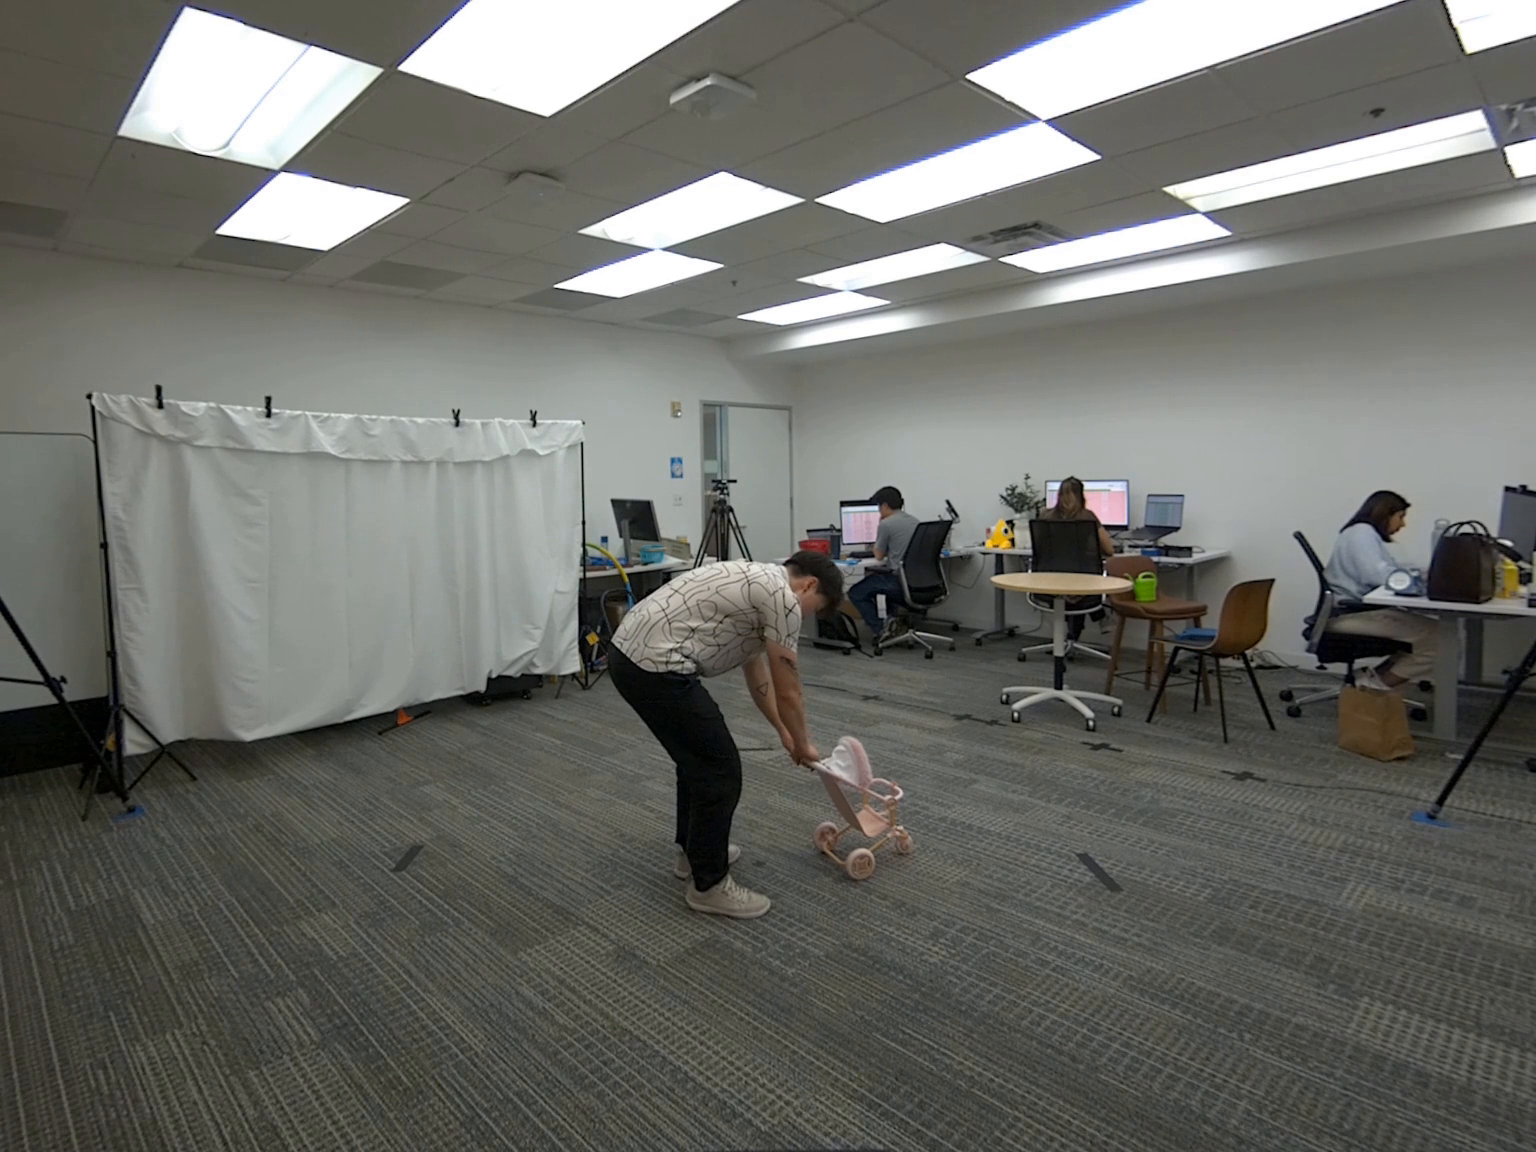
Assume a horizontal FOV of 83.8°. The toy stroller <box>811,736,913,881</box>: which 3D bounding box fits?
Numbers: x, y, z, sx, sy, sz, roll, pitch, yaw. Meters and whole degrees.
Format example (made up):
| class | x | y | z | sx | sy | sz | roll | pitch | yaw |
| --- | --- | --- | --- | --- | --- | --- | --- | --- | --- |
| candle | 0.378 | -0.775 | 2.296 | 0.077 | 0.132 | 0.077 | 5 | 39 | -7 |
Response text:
| class | x | y | z | sx | sy | sz | roll | pitch | yaw |
| --- | --- | --- | --- | --- | --- | --- | --- | --- | --- |
| toy stroller | 0.324 | 0.816 | 3.099 | 0.338 | 0.530 | 0.287 | -19 | 9 | -16 |
